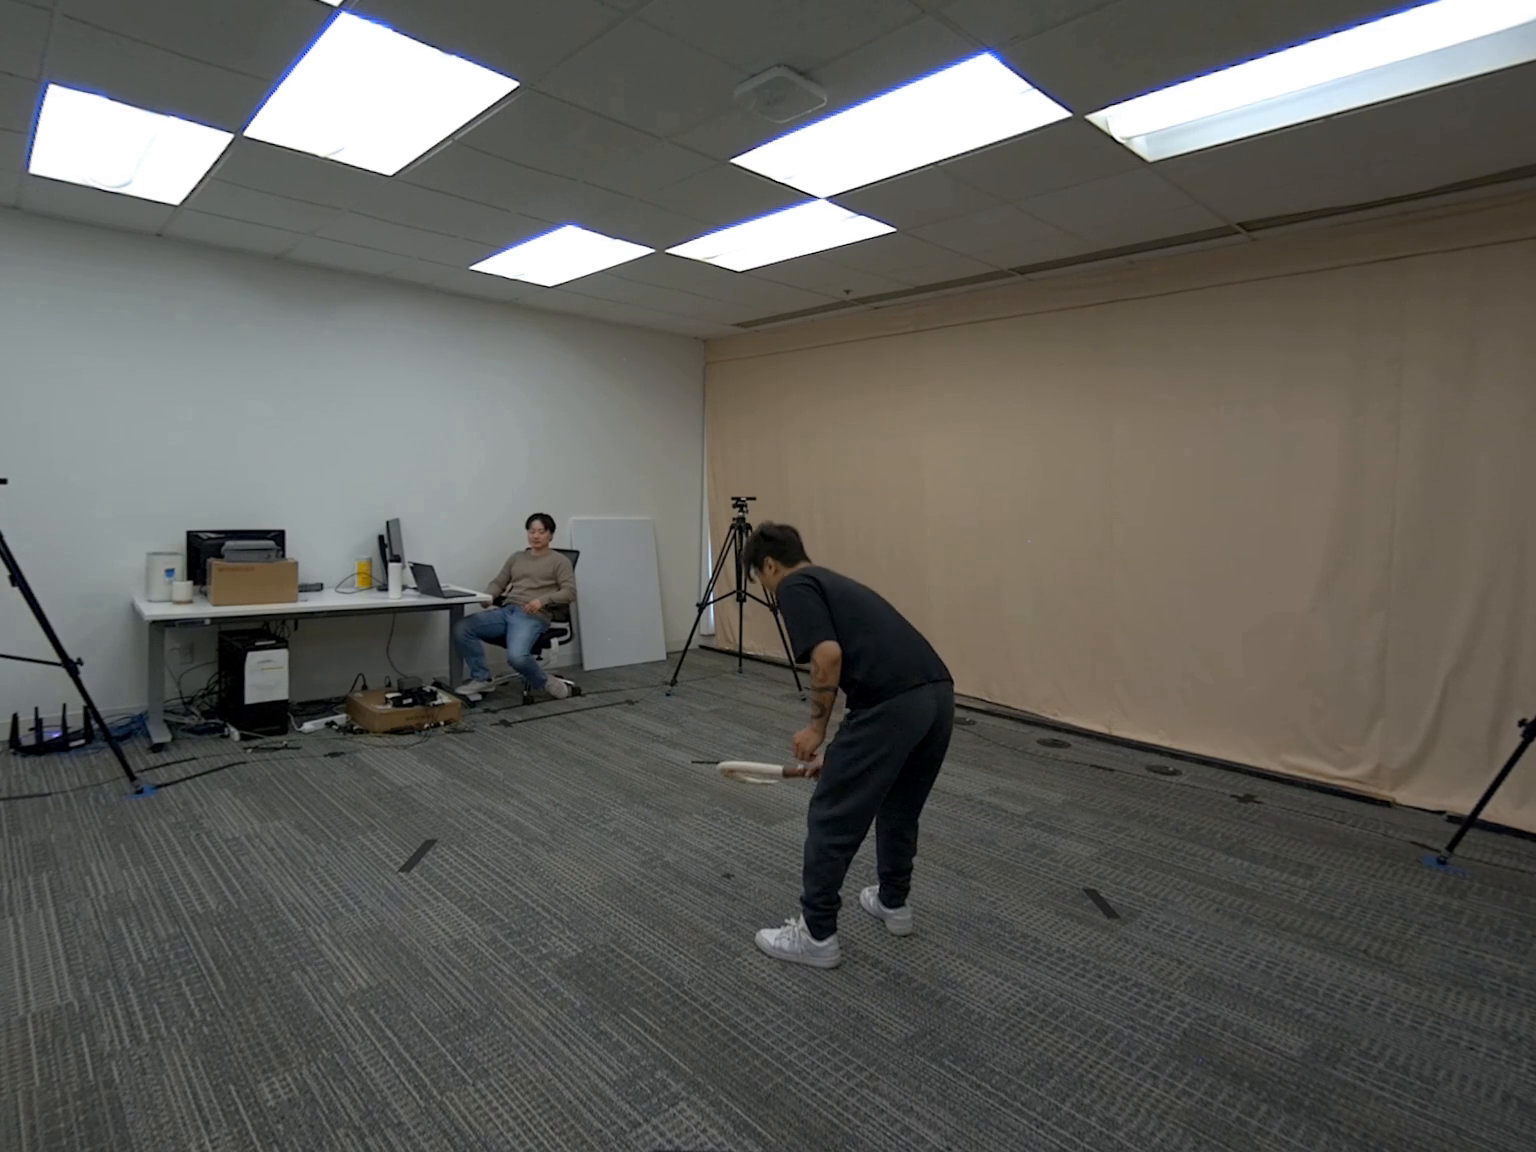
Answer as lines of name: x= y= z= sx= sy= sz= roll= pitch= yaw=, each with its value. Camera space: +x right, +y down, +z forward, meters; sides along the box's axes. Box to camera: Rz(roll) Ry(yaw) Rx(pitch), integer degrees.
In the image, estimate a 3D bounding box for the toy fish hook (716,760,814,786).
toy fish hook: x=0.040 y=0.734 z=3.086 sx=0.516 sy=0.049 sz=0.217 roll=-7 pitch=-31 yaw=34
